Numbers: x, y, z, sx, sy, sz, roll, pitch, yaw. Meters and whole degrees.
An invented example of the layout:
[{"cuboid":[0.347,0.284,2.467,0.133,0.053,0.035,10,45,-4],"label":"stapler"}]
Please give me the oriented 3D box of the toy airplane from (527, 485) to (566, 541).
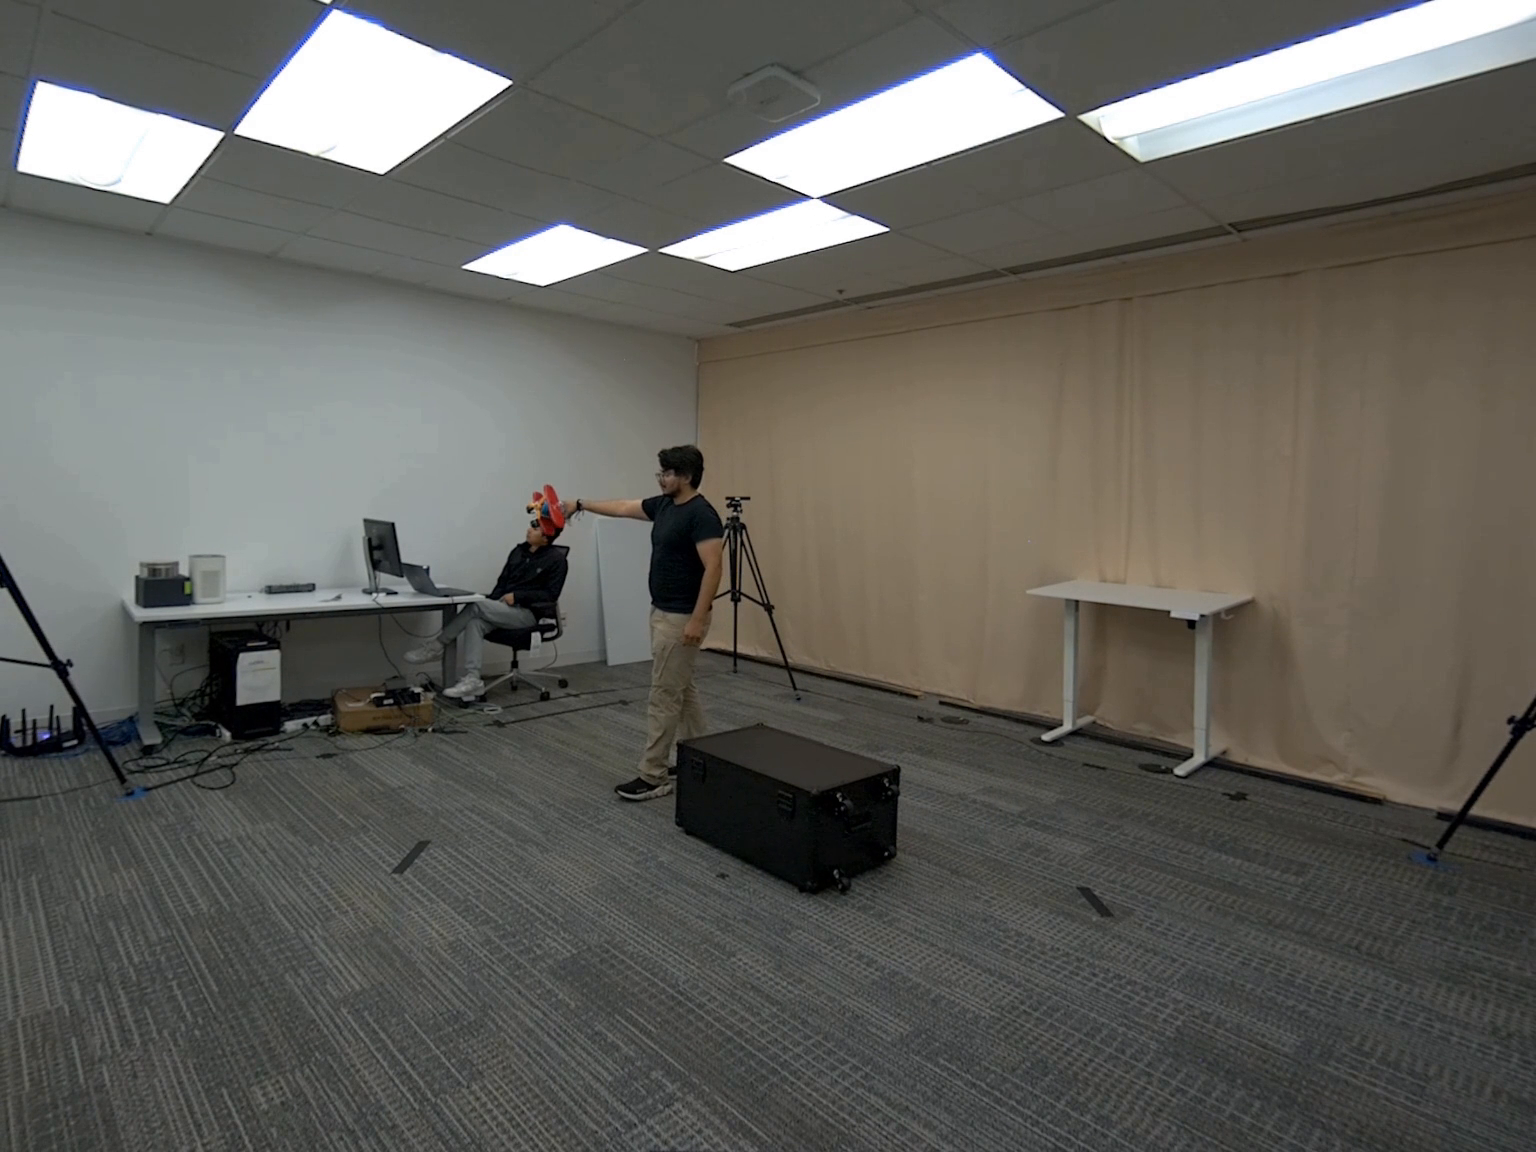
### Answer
[{"cuboid":[-1.127,-0.345,4.352,0.157,0.250,0.258,-35,4,35],"label":"toy airplane"}]
